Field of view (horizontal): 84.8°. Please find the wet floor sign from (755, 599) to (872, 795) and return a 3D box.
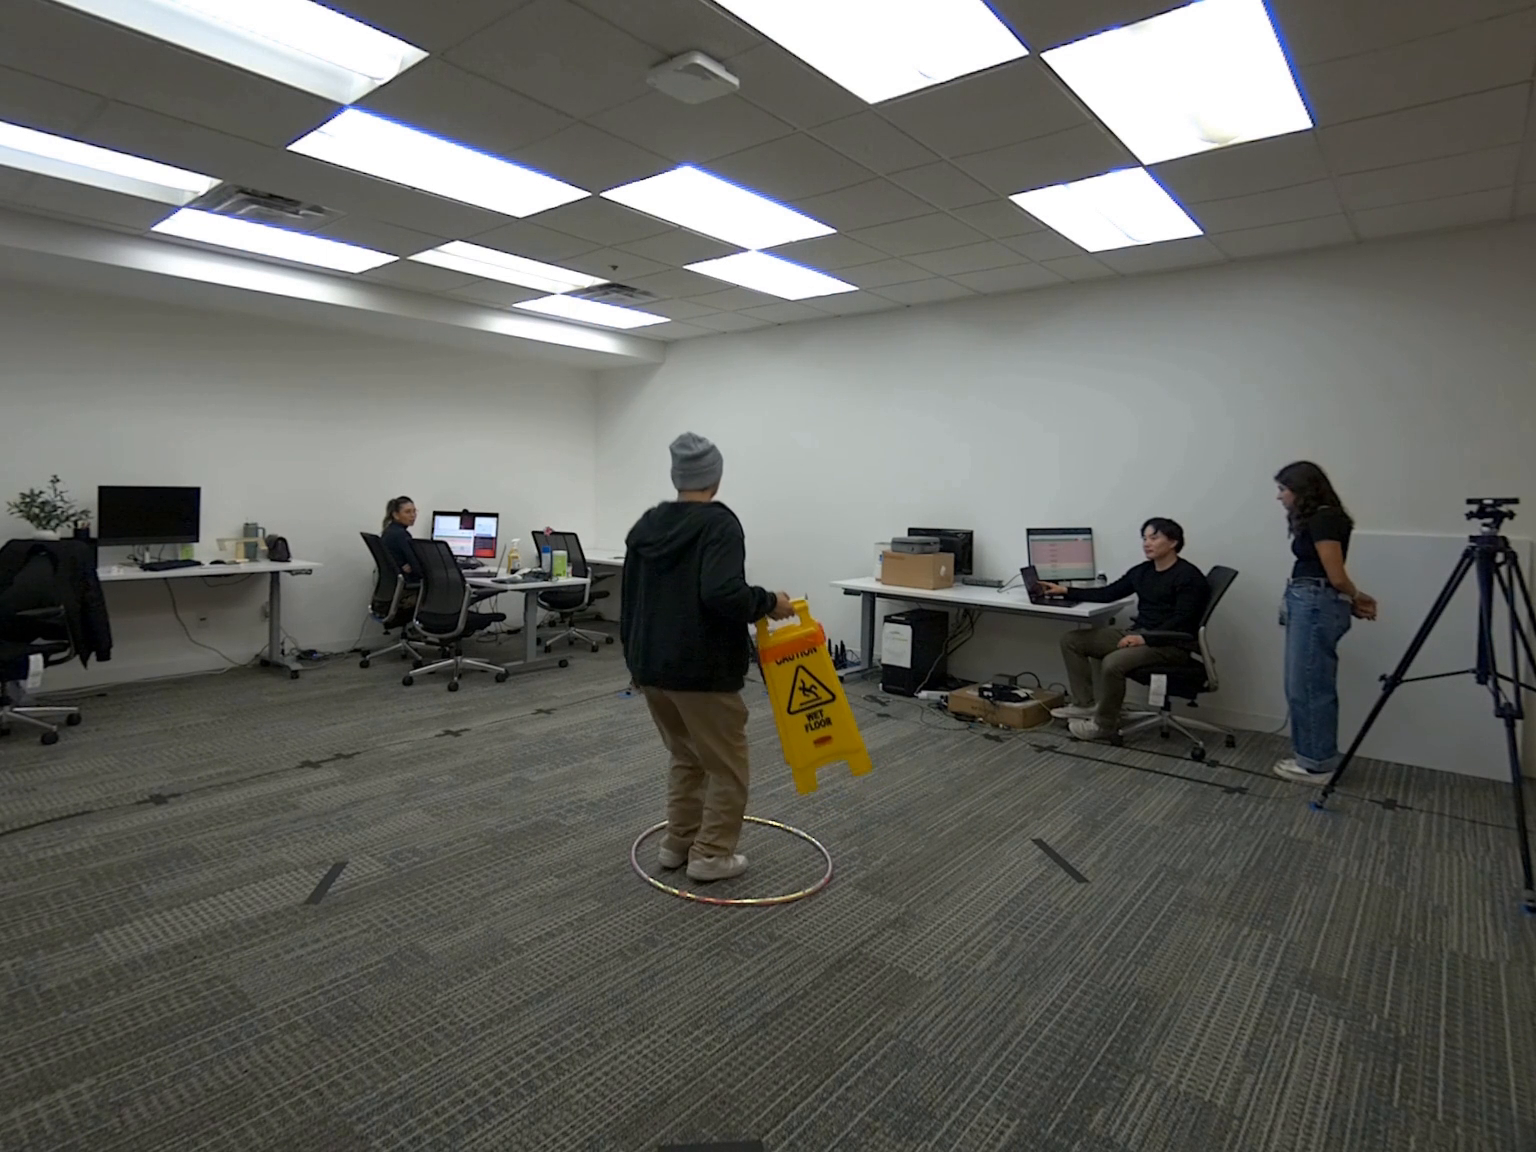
[{"bbox_3d":[0.105,0.399,3.034,0.281,0.637,0.295,-15,12,-4],"label":"wet floor sign"}]
